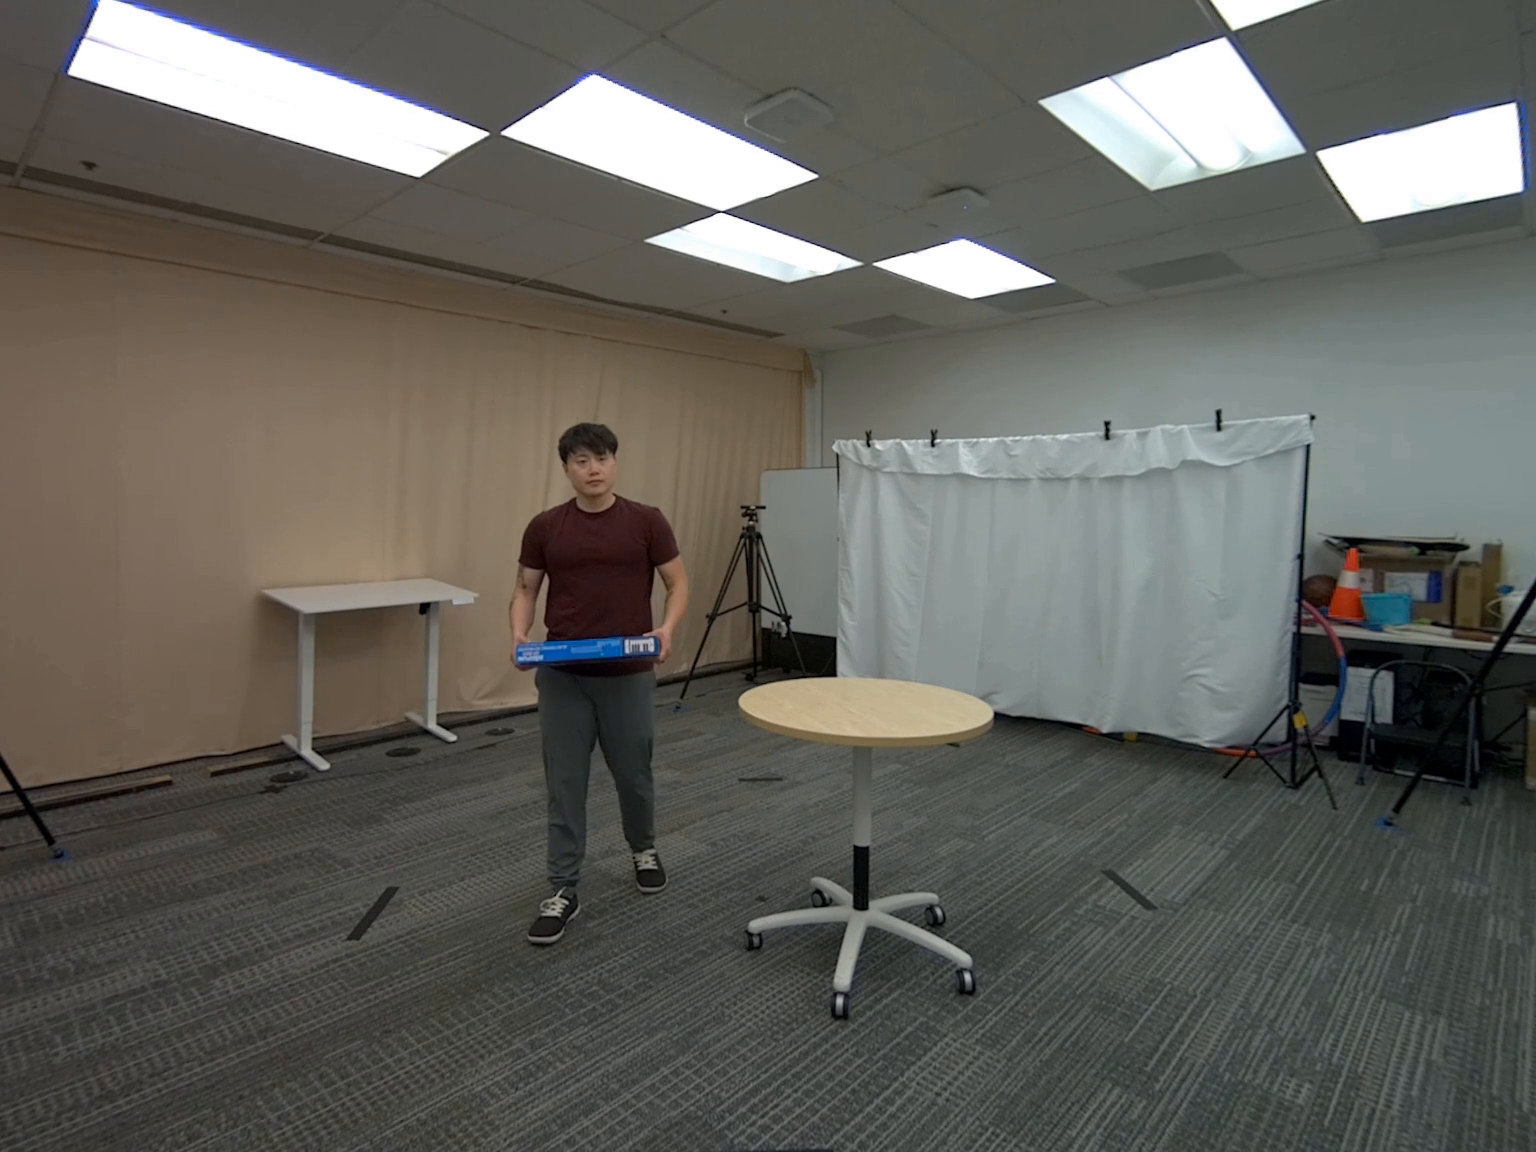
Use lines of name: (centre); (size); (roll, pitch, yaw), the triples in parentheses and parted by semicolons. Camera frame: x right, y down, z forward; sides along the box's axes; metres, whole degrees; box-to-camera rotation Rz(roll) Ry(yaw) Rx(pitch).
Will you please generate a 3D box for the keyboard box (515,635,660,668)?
keyboard box: (-0.558, 0.243, 2.680); (0.436, 0.059, 0.175); (-4, -10, -2)
